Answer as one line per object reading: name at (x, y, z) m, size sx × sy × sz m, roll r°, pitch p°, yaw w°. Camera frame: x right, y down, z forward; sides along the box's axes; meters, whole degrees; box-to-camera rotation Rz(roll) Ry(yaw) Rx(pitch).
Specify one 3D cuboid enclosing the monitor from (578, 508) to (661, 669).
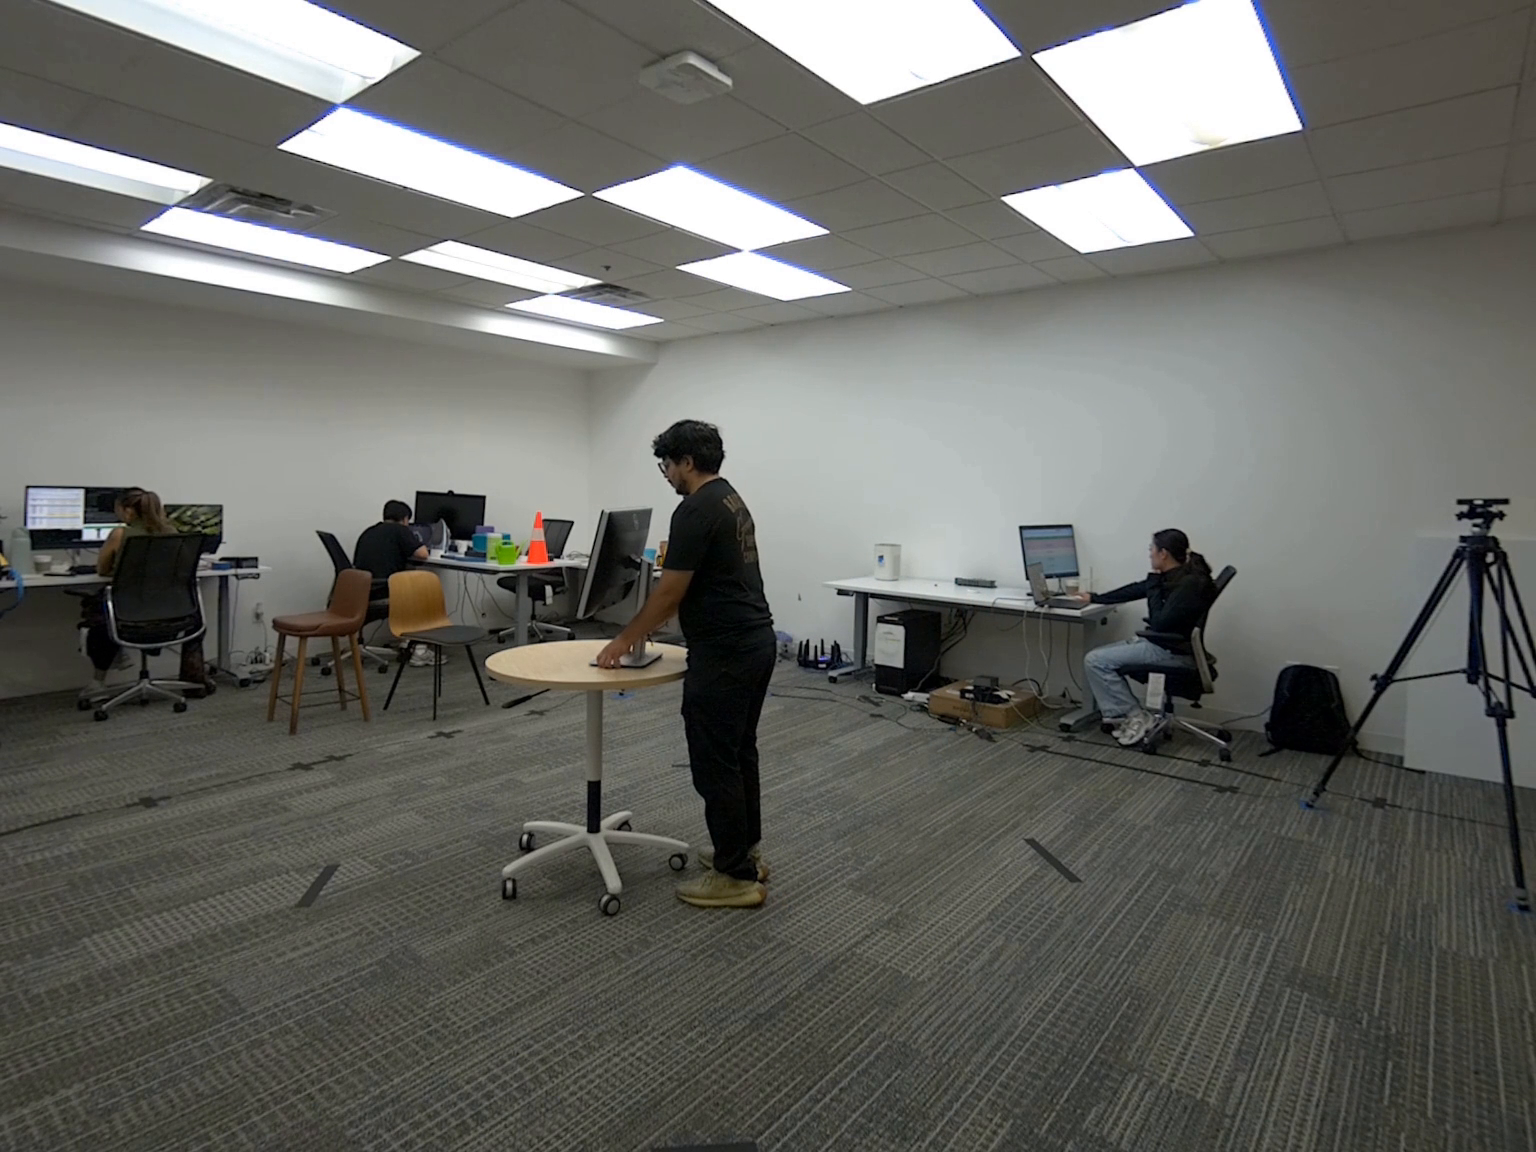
monitor at (-0.485, 0.034, 3.010) m, size 0.212 × 0.552 × 0.561 m, roll 7°, pitch 5°, yaw 8°
